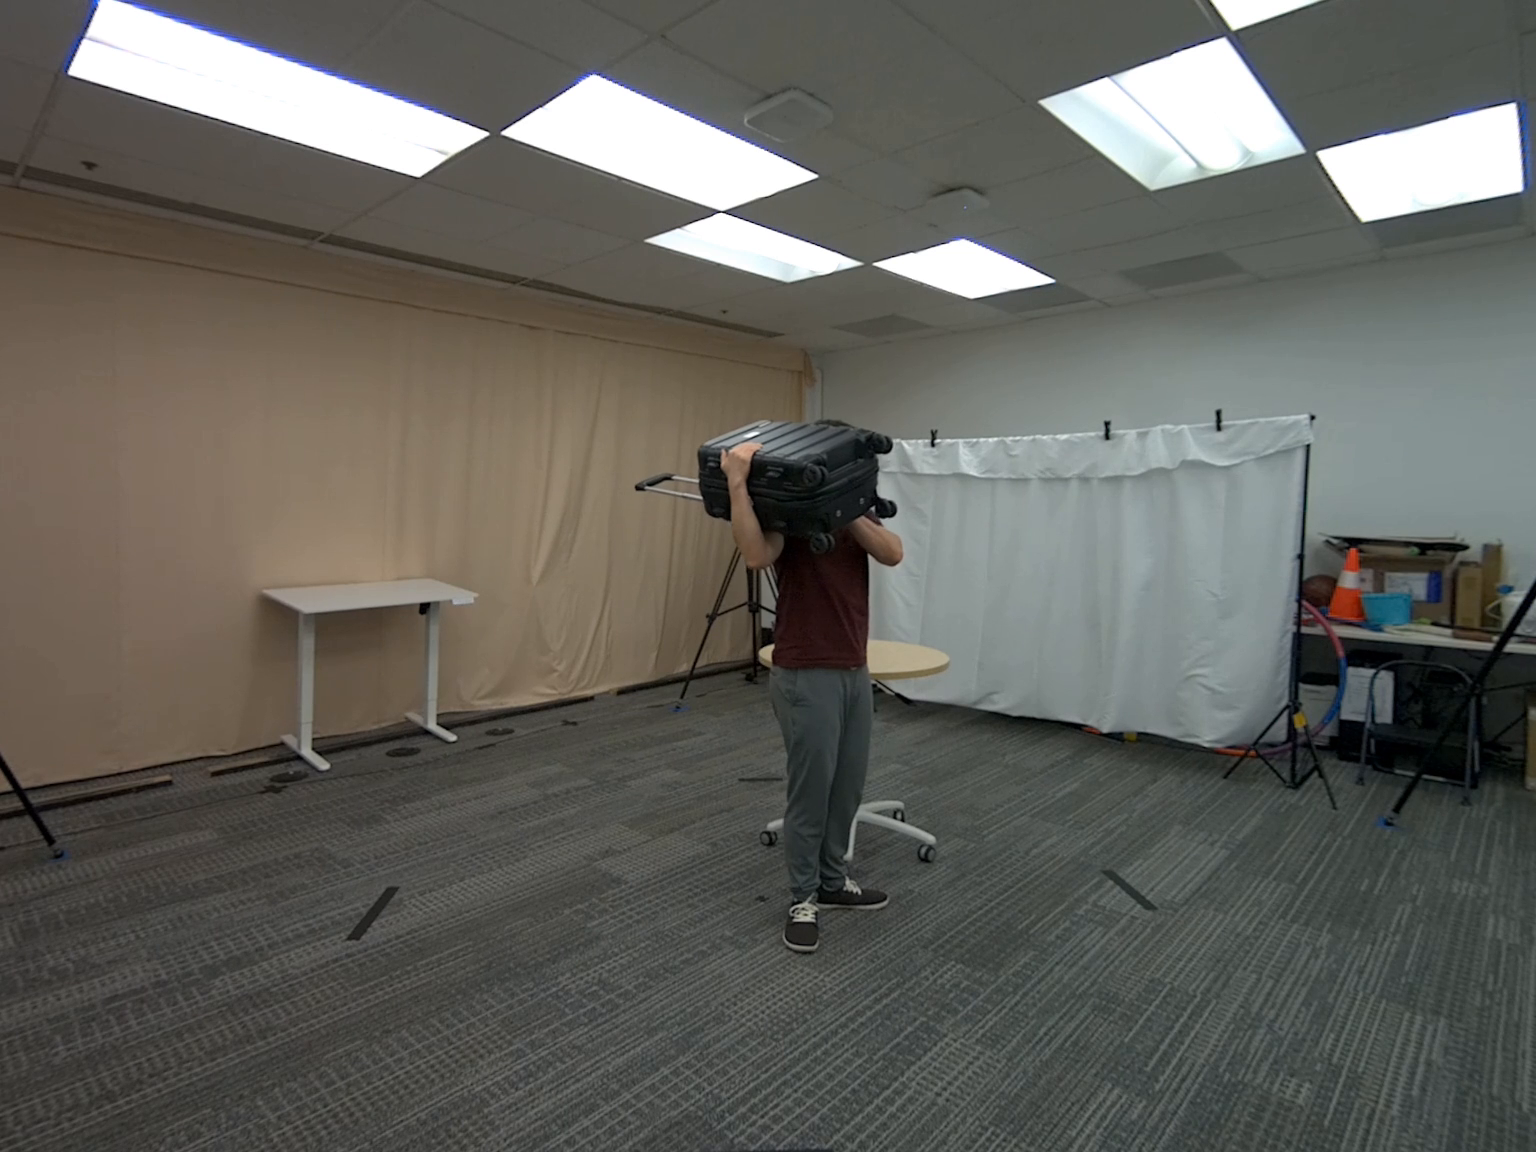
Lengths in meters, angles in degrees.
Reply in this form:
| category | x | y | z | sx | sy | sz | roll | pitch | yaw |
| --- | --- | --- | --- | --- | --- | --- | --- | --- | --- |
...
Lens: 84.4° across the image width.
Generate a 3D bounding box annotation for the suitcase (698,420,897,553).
| category | x | y | z | sx | sy | sz | roll | pitch | yaw |
| --- | --- | --- | --- | --- | --- | --- | --- | --- | --- |
| suitcase | -0.081 | -0.349 | 2.712 | 0.377 | 0.252 | 1.014 | -29 | 31 | -36 |
